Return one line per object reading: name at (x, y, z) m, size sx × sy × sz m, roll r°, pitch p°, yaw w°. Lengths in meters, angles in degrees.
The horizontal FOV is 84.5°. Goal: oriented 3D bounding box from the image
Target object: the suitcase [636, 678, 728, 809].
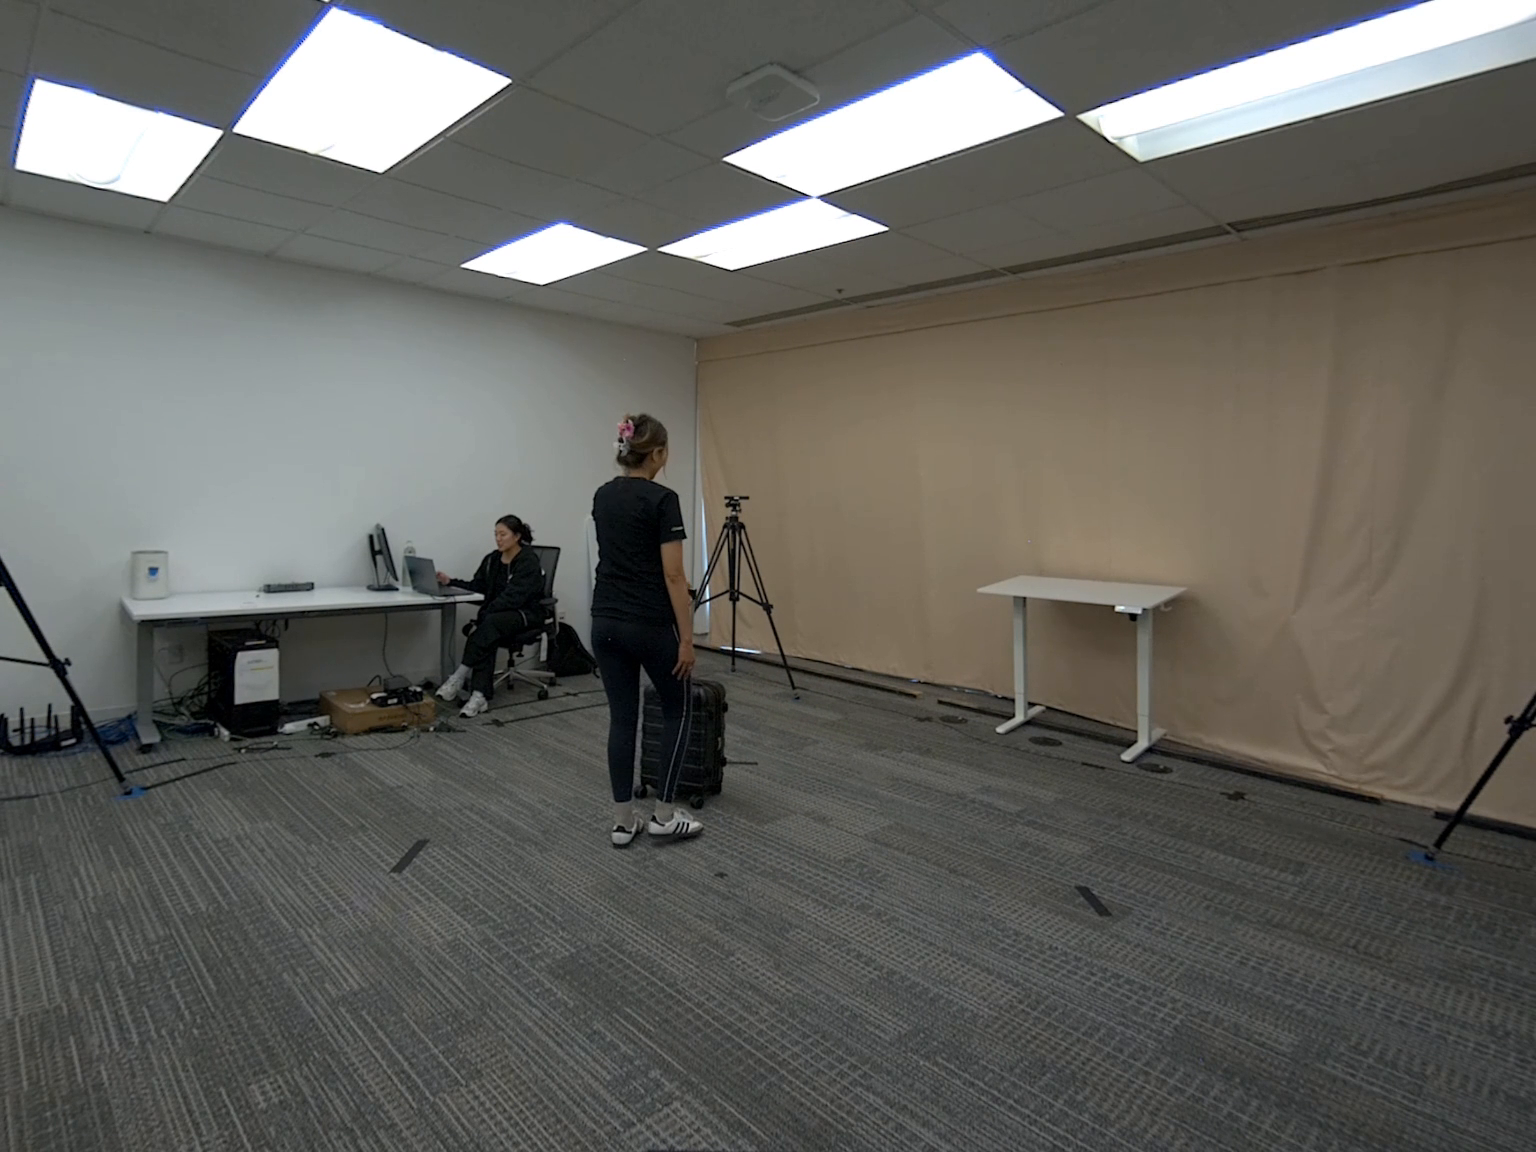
suitcase at (-0.396, 0.550, 3.933) m, size 0.391 × 0.978 × 0.252 m, roll 5°, pitch 1°, yaw 24°
